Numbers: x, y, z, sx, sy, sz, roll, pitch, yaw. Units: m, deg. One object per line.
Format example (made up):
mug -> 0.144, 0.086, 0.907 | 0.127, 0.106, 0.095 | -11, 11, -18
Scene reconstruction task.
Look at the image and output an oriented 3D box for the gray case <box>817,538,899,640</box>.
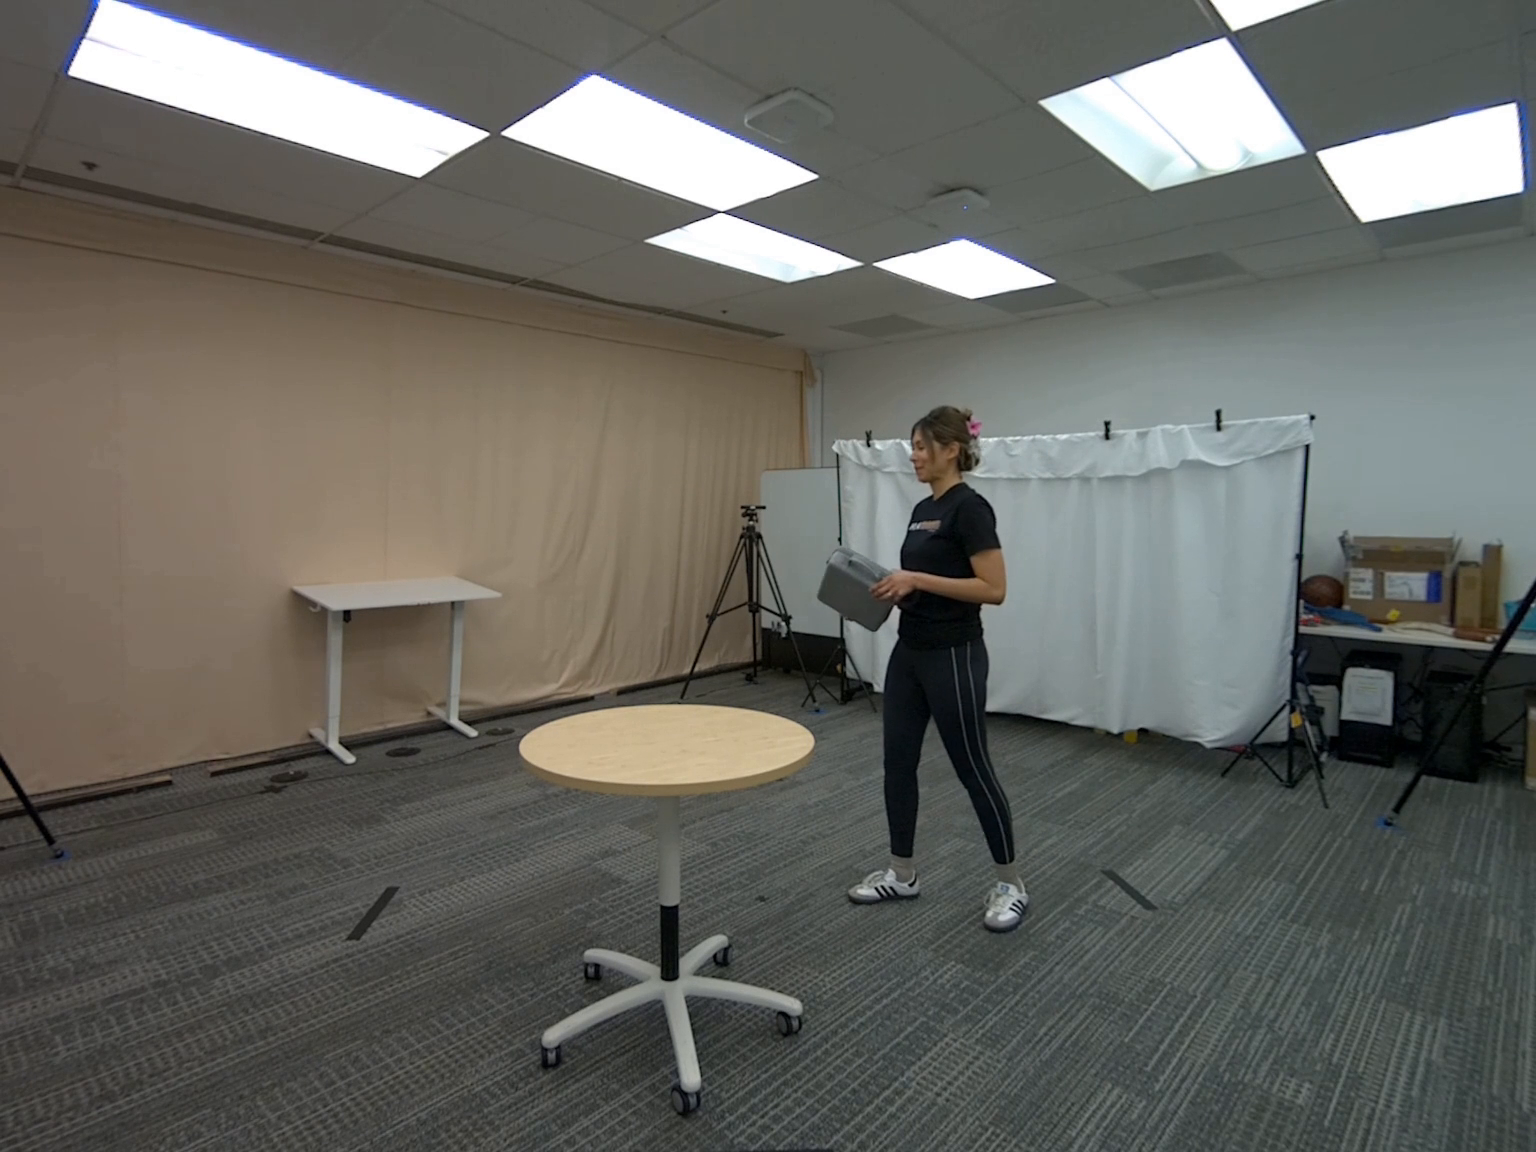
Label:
gray case -> 0.323, 0.045, 2.844 | 0.262, 0.104, 0.257 | 33, -31, 14
